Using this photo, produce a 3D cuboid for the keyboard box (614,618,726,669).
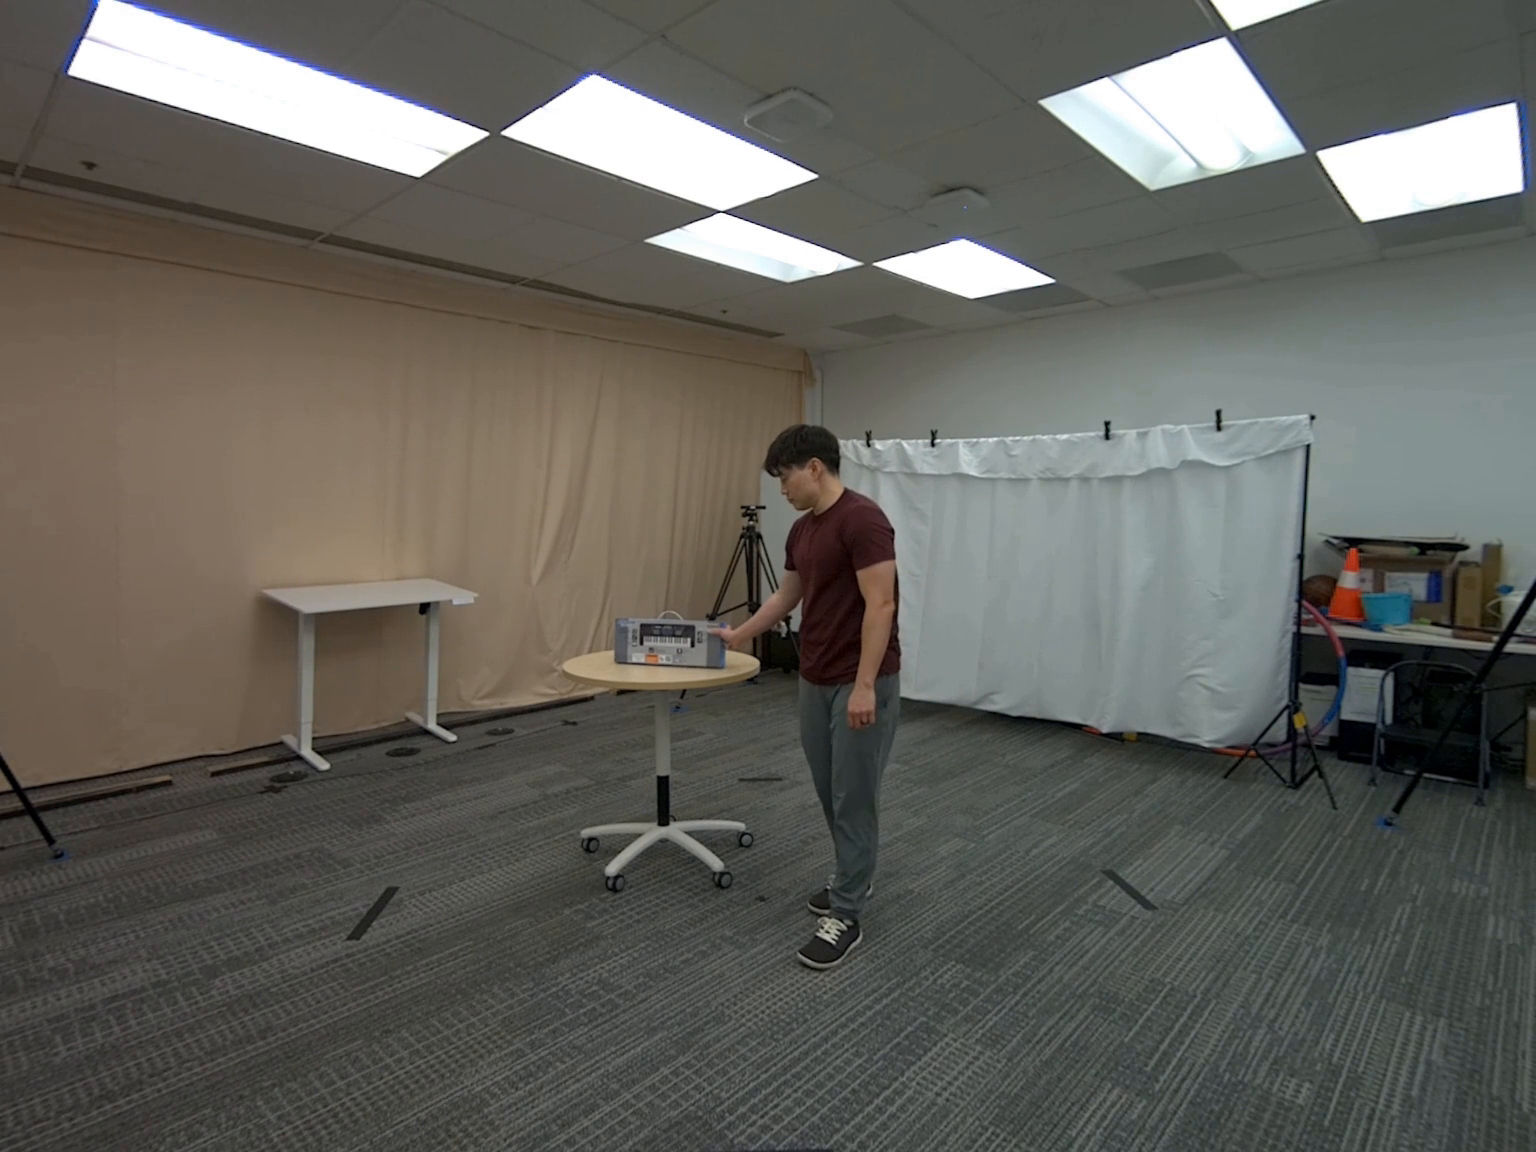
[{"bbox_3d":[-0.379,0.256,3.235,0.445,0.176,0.058,1,-4,17],"label":"keyboard box"}]
